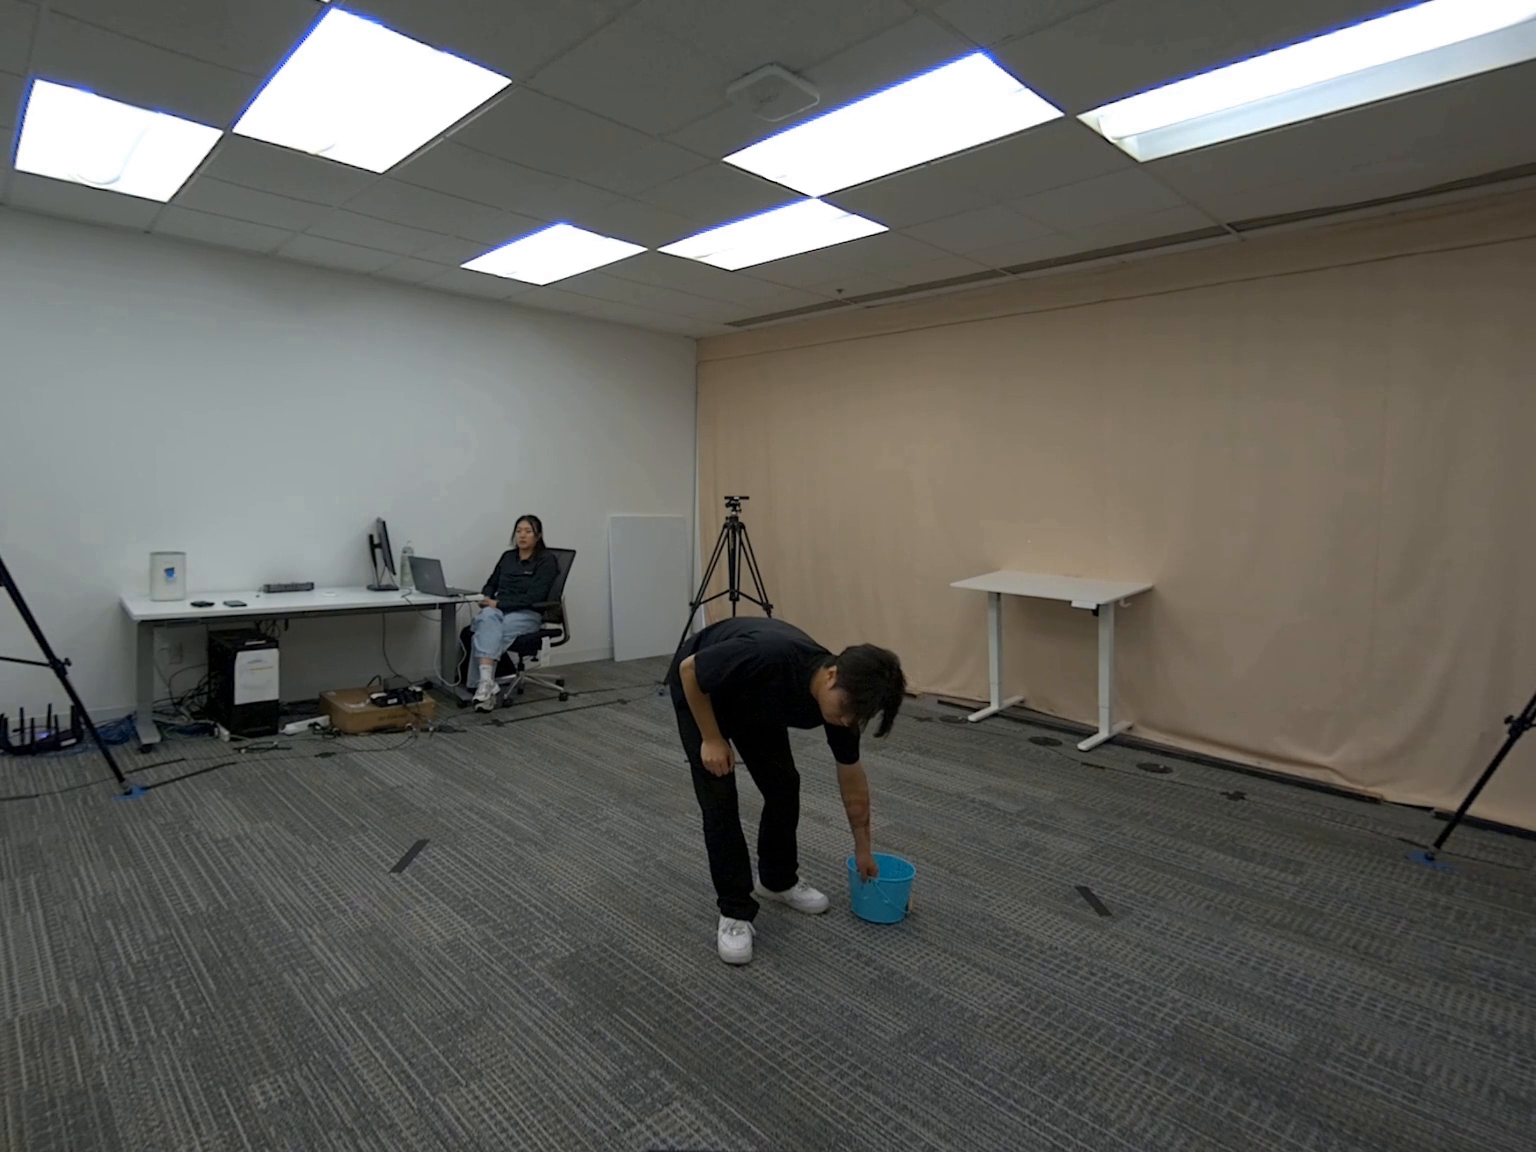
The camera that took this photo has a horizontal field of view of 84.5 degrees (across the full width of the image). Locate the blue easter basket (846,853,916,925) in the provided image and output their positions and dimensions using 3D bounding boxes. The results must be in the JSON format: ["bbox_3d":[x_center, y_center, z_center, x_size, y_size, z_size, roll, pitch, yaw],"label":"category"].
[{"bbox_3d":[0.360,1.058,2.854,0.243,0.155,0.244,3,3,-1],"label":"blue easter basket"}]
